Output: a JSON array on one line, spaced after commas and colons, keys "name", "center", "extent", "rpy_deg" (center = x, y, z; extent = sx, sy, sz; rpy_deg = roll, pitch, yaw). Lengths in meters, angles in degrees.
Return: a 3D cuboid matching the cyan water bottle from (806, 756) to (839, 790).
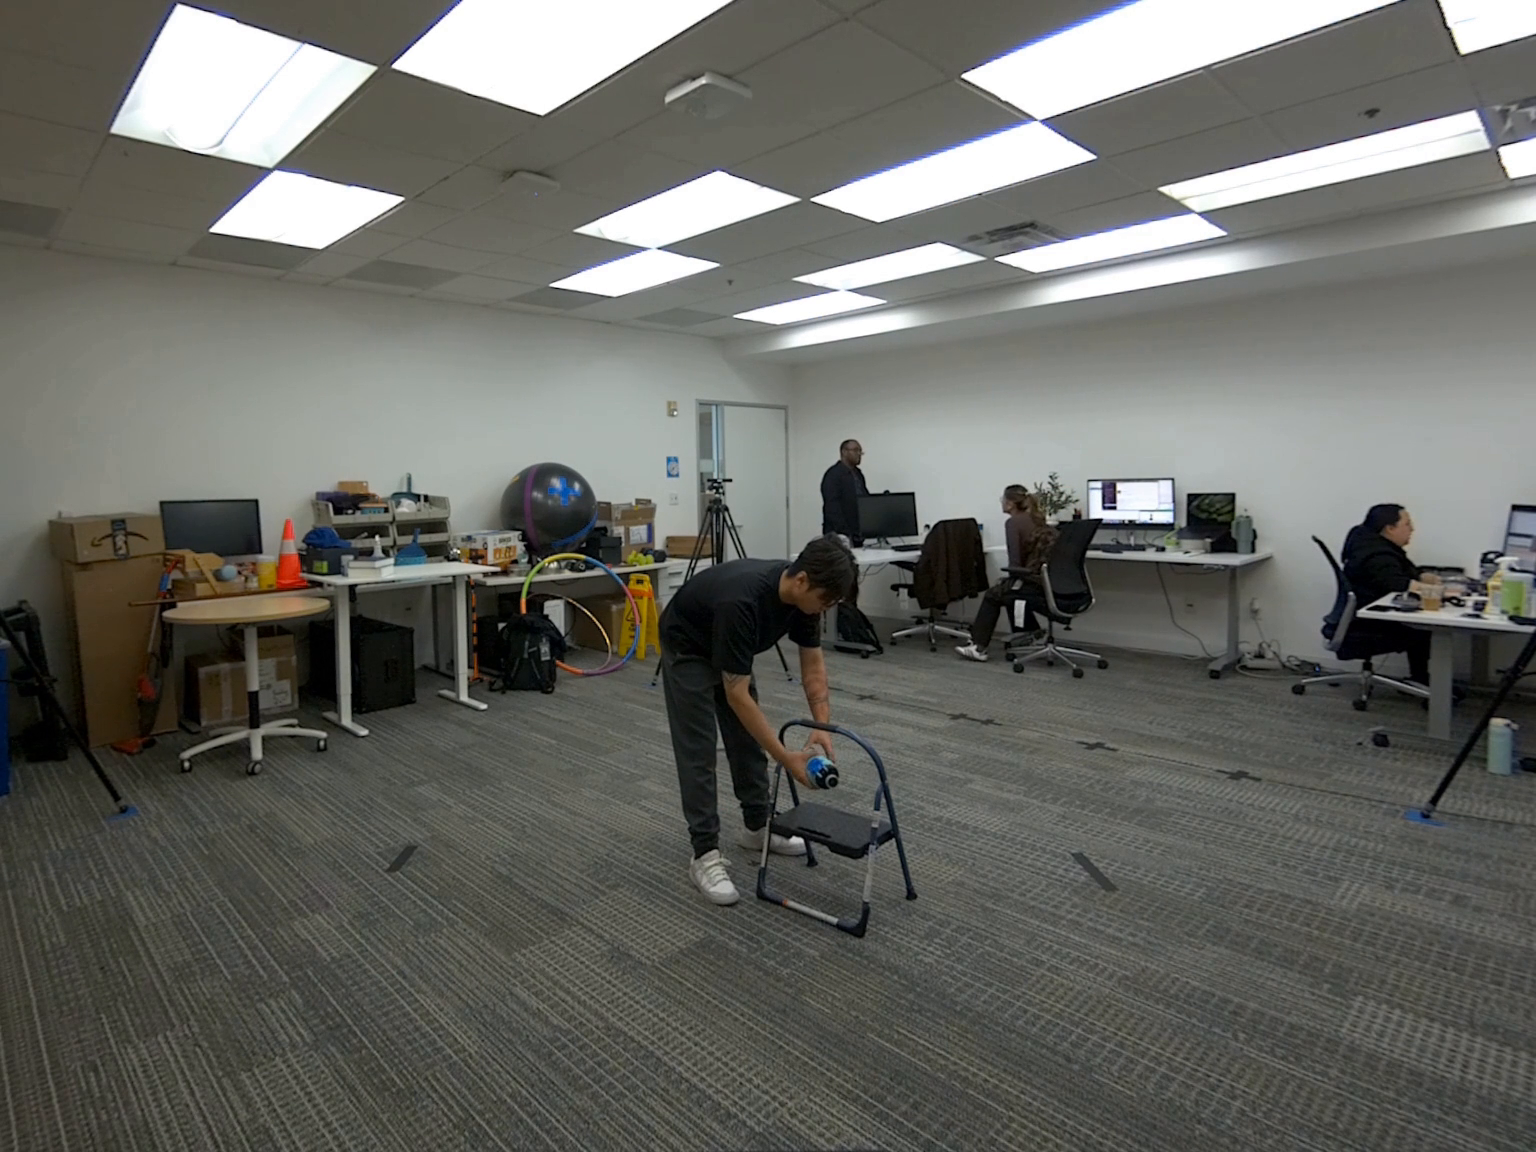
[{"name": "cyan water bottle", "center": [0.152, 0.625, 2.729], "extent": [0.091, 0.092, 0.285], "rpy_deg": [-2, 0, -11]}]
